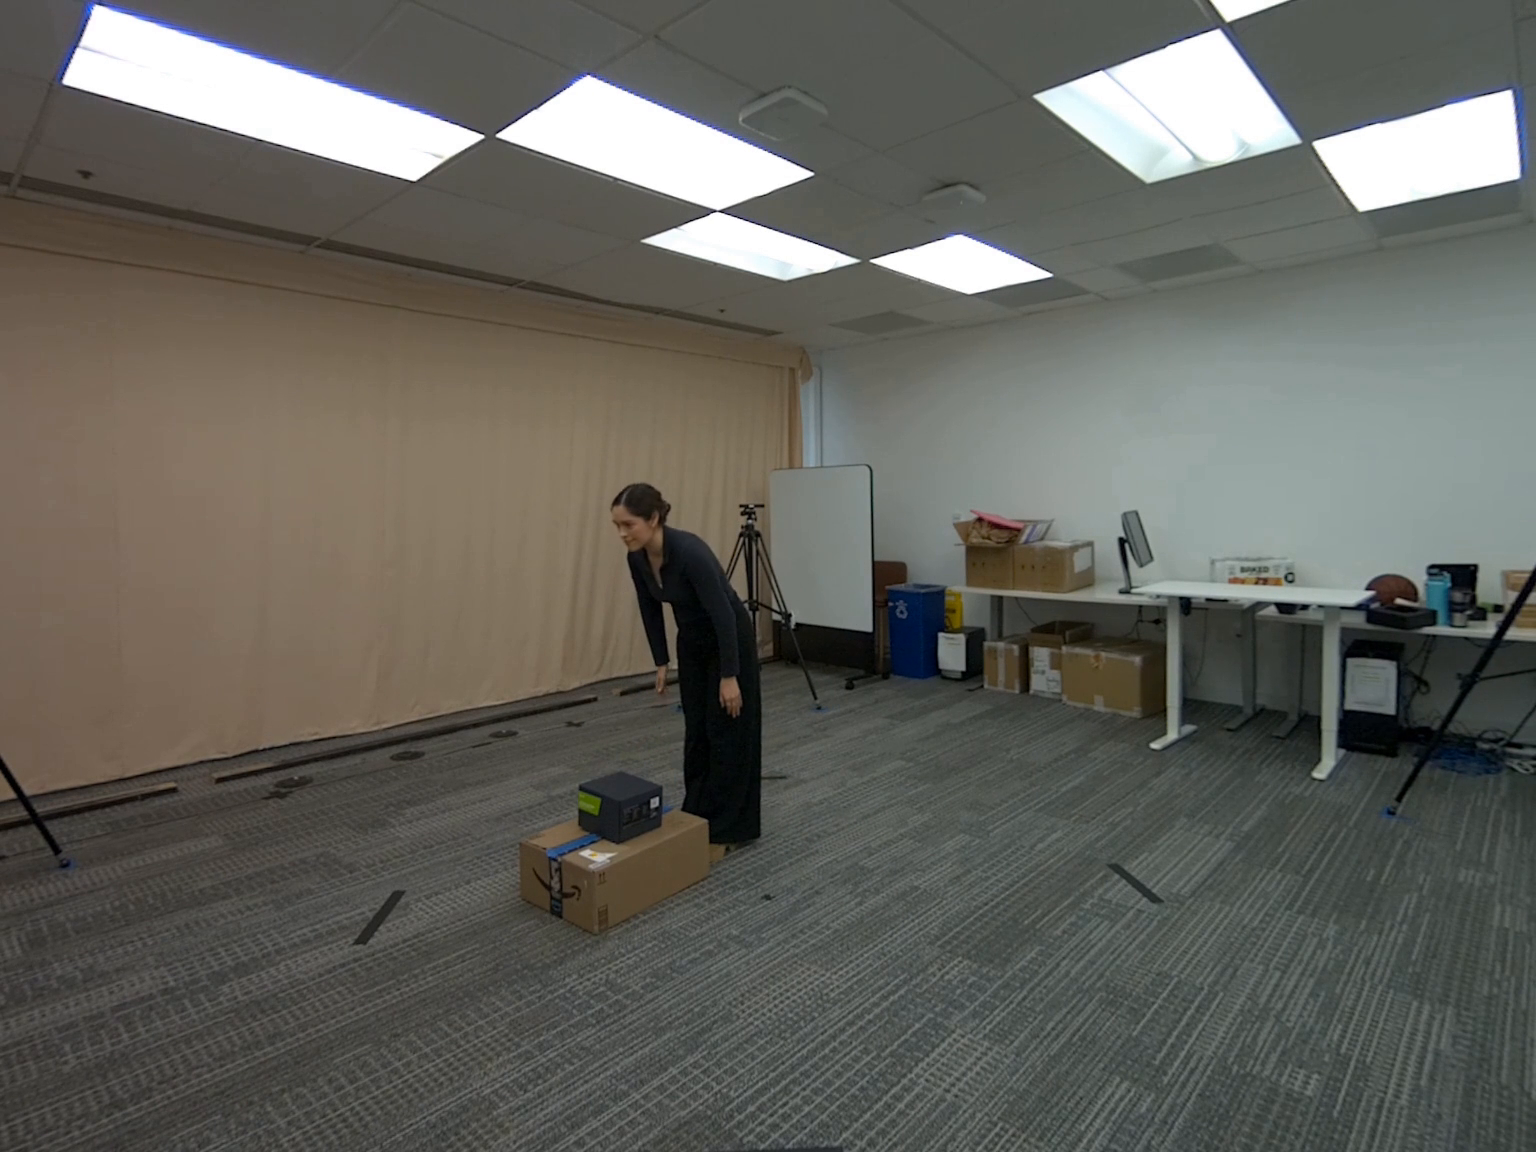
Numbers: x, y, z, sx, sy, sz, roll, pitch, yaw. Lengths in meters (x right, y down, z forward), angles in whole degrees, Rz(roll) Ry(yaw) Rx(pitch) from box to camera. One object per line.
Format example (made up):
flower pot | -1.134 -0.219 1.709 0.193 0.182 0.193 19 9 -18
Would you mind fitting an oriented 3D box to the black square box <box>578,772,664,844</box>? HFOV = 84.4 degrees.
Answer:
black square box | -0.540 0.839 3.095 0.235 0.155 0.210 5 7 38
